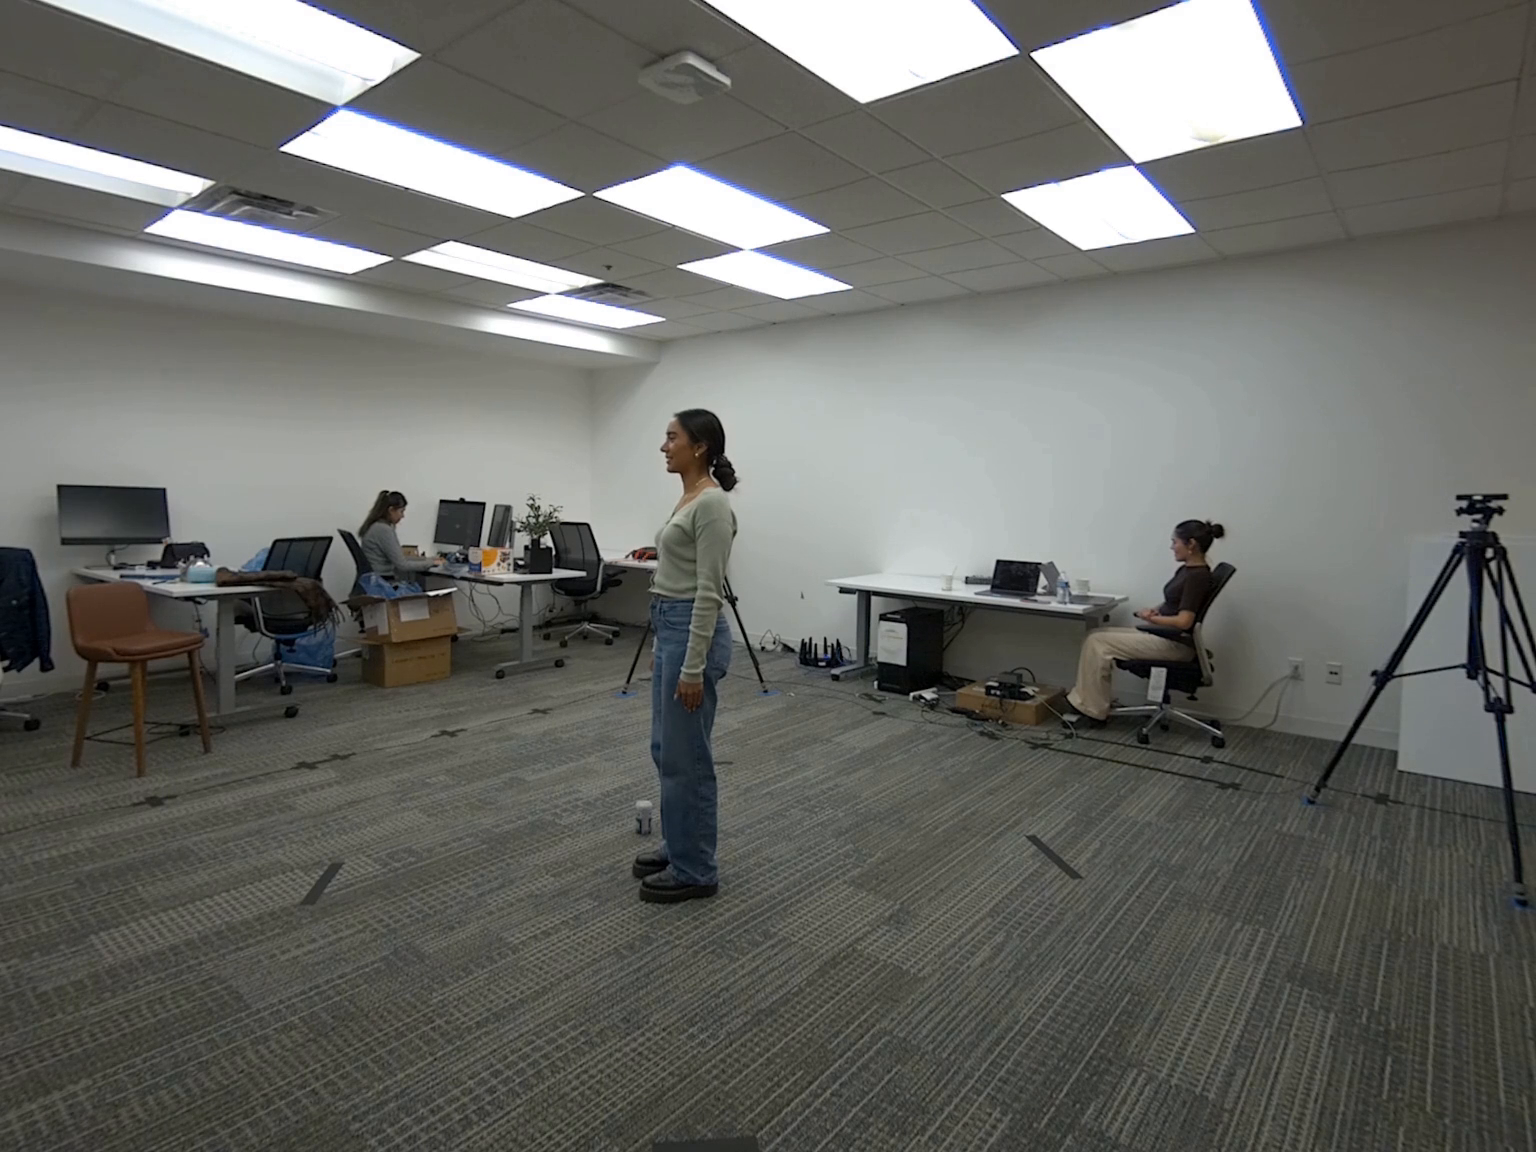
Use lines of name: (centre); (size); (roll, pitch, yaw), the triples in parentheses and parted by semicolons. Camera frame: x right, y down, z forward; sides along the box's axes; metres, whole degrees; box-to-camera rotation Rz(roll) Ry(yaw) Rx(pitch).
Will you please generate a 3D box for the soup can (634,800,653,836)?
soup can: (-0.511, 0.973, 3.422); (0.067, 0.121, 0.067); (1, 4, -2)
